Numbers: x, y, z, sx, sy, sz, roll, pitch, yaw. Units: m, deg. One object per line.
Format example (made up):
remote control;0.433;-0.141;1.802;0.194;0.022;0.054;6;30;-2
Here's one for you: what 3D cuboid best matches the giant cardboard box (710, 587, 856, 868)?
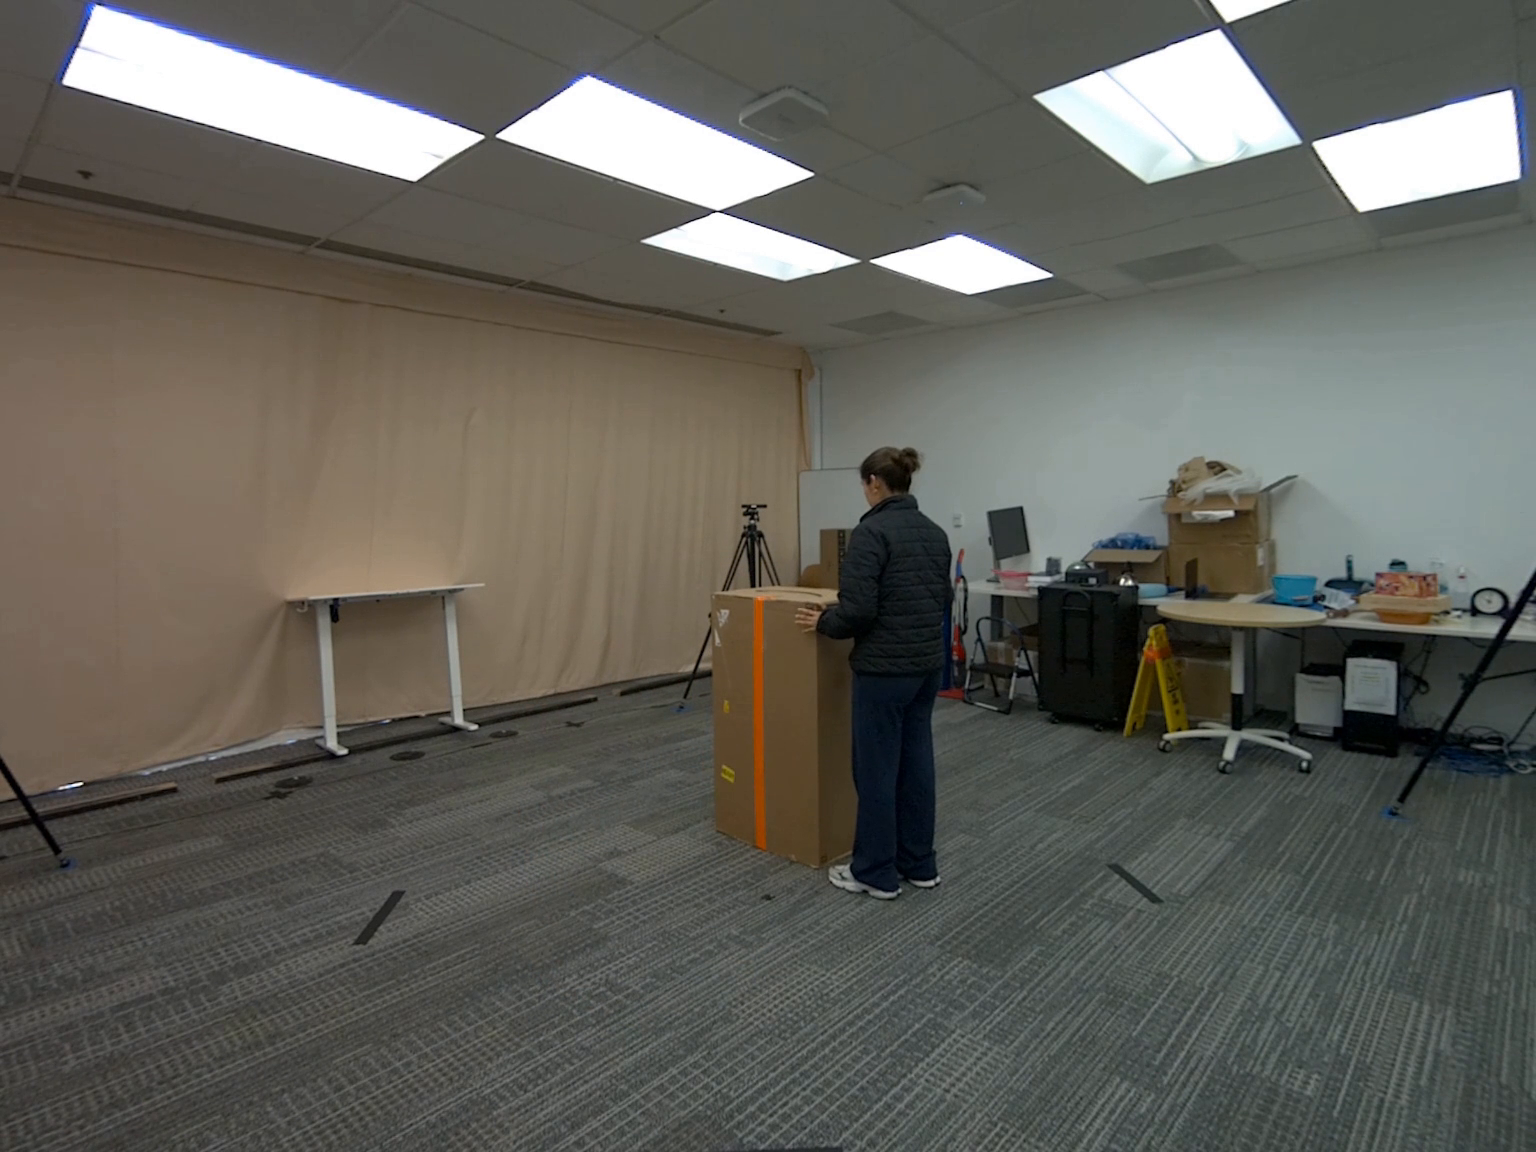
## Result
giant cardboard box;0.122;0.583;3.525;0.413;1.023;0.597;-4;5;-45
